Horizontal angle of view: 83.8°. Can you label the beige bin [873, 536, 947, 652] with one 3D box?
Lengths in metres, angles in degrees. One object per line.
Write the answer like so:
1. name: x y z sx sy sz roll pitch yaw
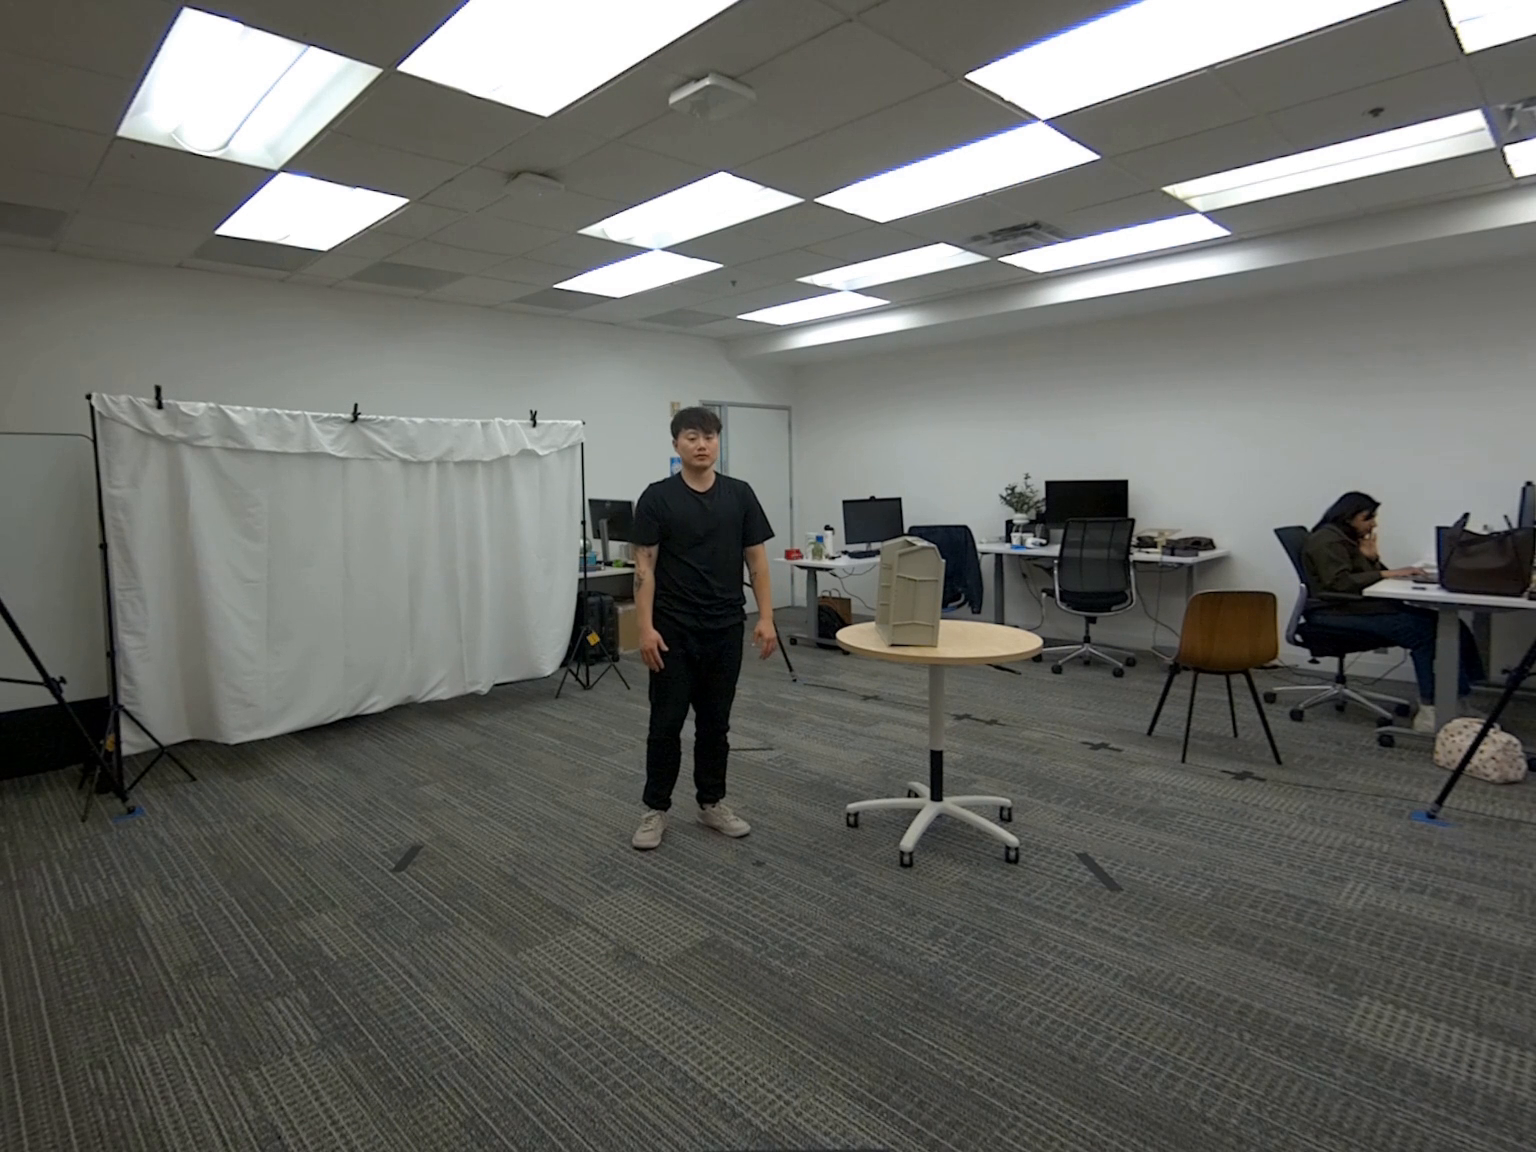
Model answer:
1. beige bin: 0.530 0.052 3.261 0.189 0.376 0.422 3 5 2
